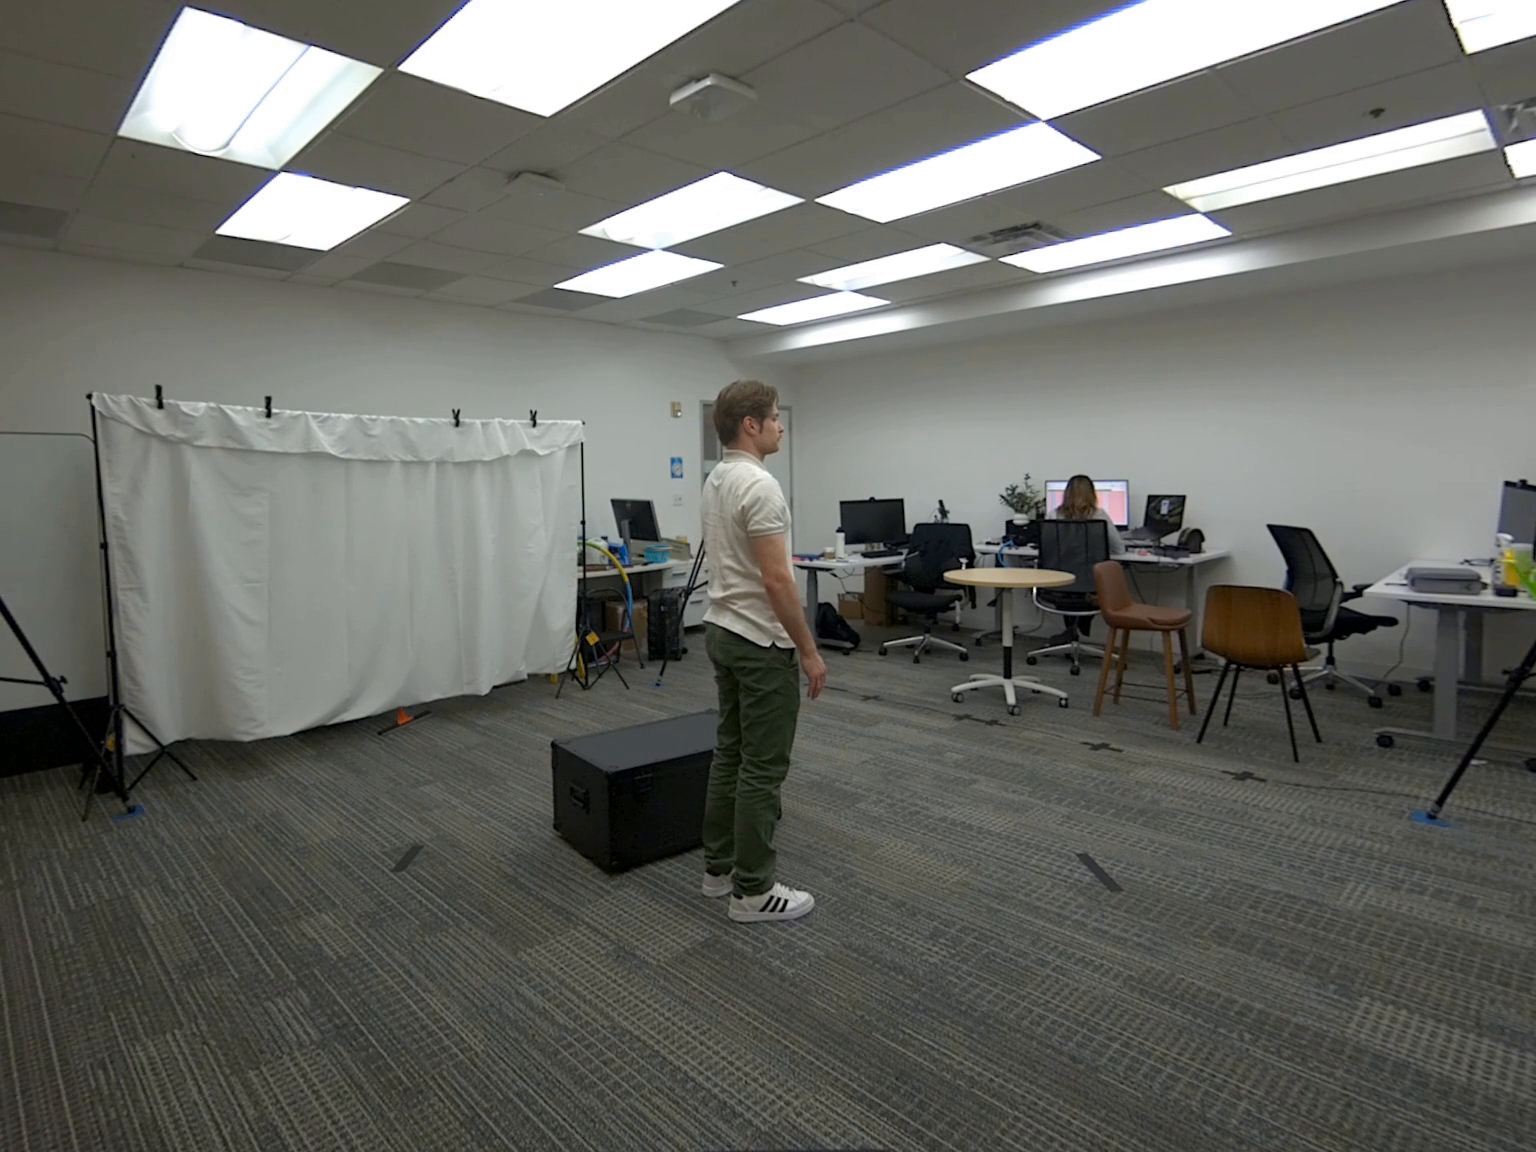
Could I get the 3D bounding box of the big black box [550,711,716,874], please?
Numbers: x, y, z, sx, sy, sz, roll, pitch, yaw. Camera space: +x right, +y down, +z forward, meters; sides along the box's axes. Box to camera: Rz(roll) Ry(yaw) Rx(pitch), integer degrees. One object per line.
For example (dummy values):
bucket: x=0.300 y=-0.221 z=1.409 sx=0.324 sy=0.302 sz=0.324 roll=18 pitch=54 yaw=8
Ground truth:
big black box: x=-0.369 y=0.820 z=3.433 sx=0.847 sy=0.384 sz=0.538 roll=-5 pitch=5 yaw=-36
